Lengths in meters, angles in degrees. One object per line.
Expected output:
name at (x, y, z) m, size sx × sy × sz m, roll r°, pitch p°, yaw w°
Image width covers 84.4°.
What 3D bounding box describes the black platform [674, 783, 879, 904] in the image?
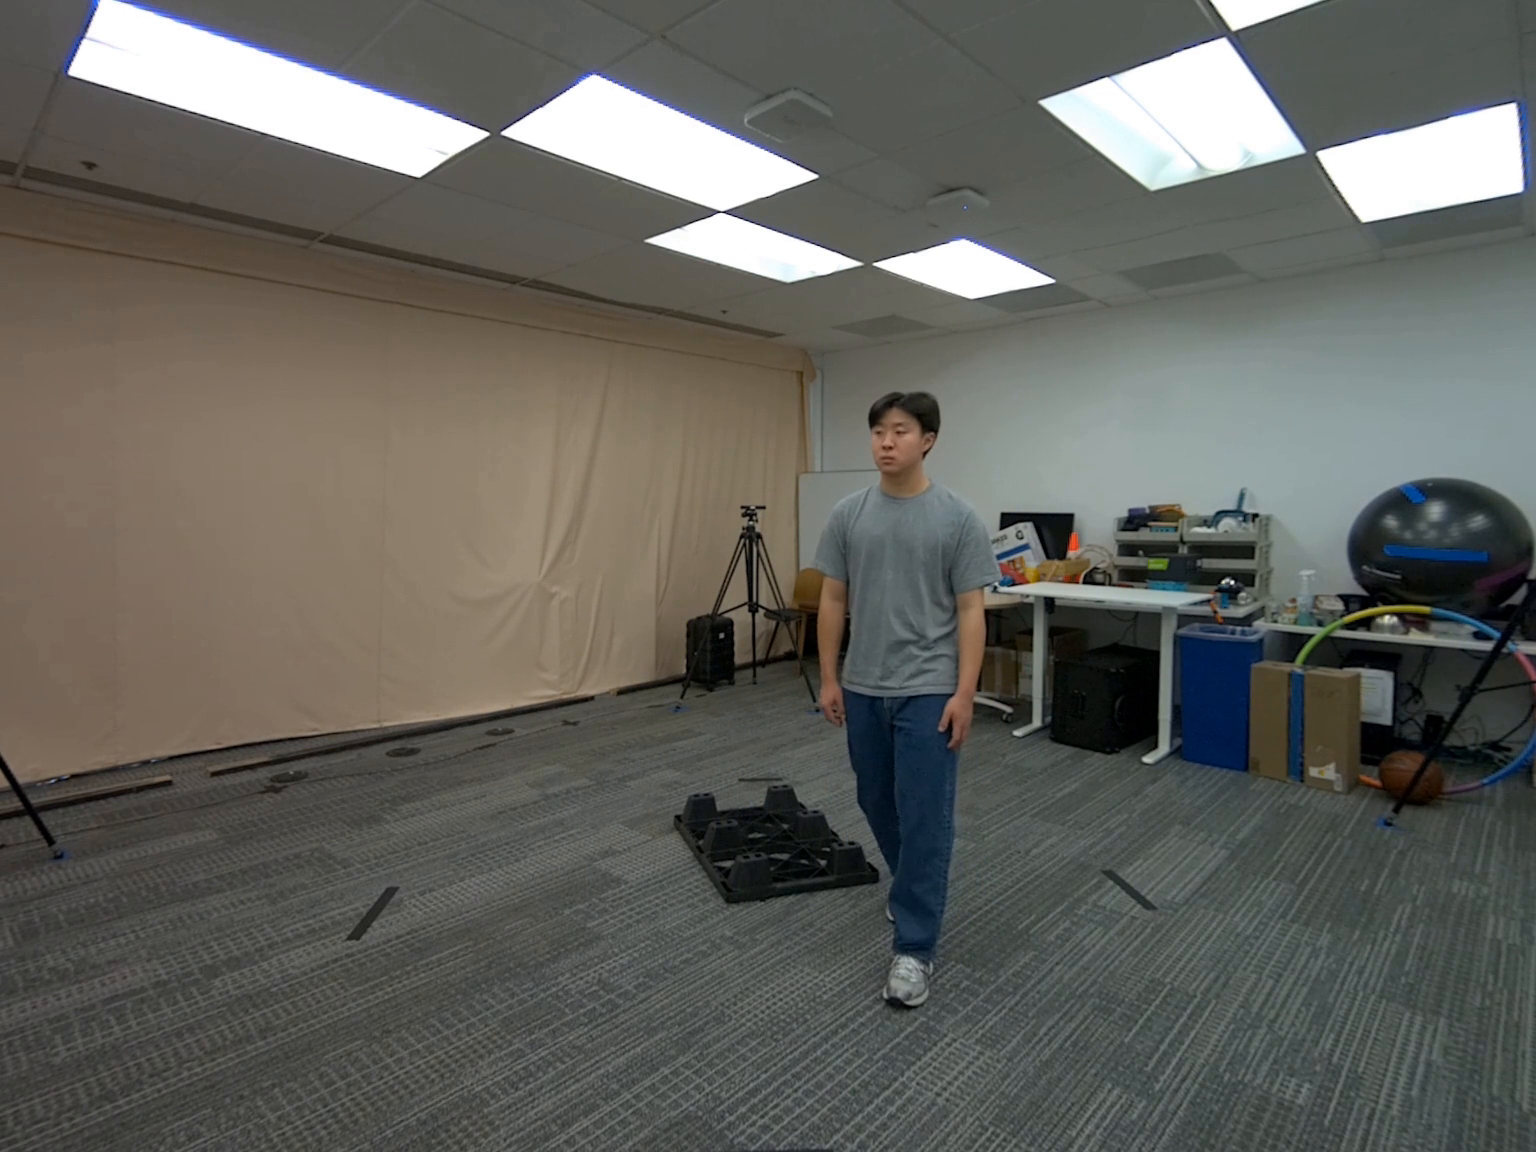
black platform at (-0.004, 1.040, 3.398) m, size 0.594 × 0.143 × 0.823 m, roll -1°, pitch 4°, yaw -20°
